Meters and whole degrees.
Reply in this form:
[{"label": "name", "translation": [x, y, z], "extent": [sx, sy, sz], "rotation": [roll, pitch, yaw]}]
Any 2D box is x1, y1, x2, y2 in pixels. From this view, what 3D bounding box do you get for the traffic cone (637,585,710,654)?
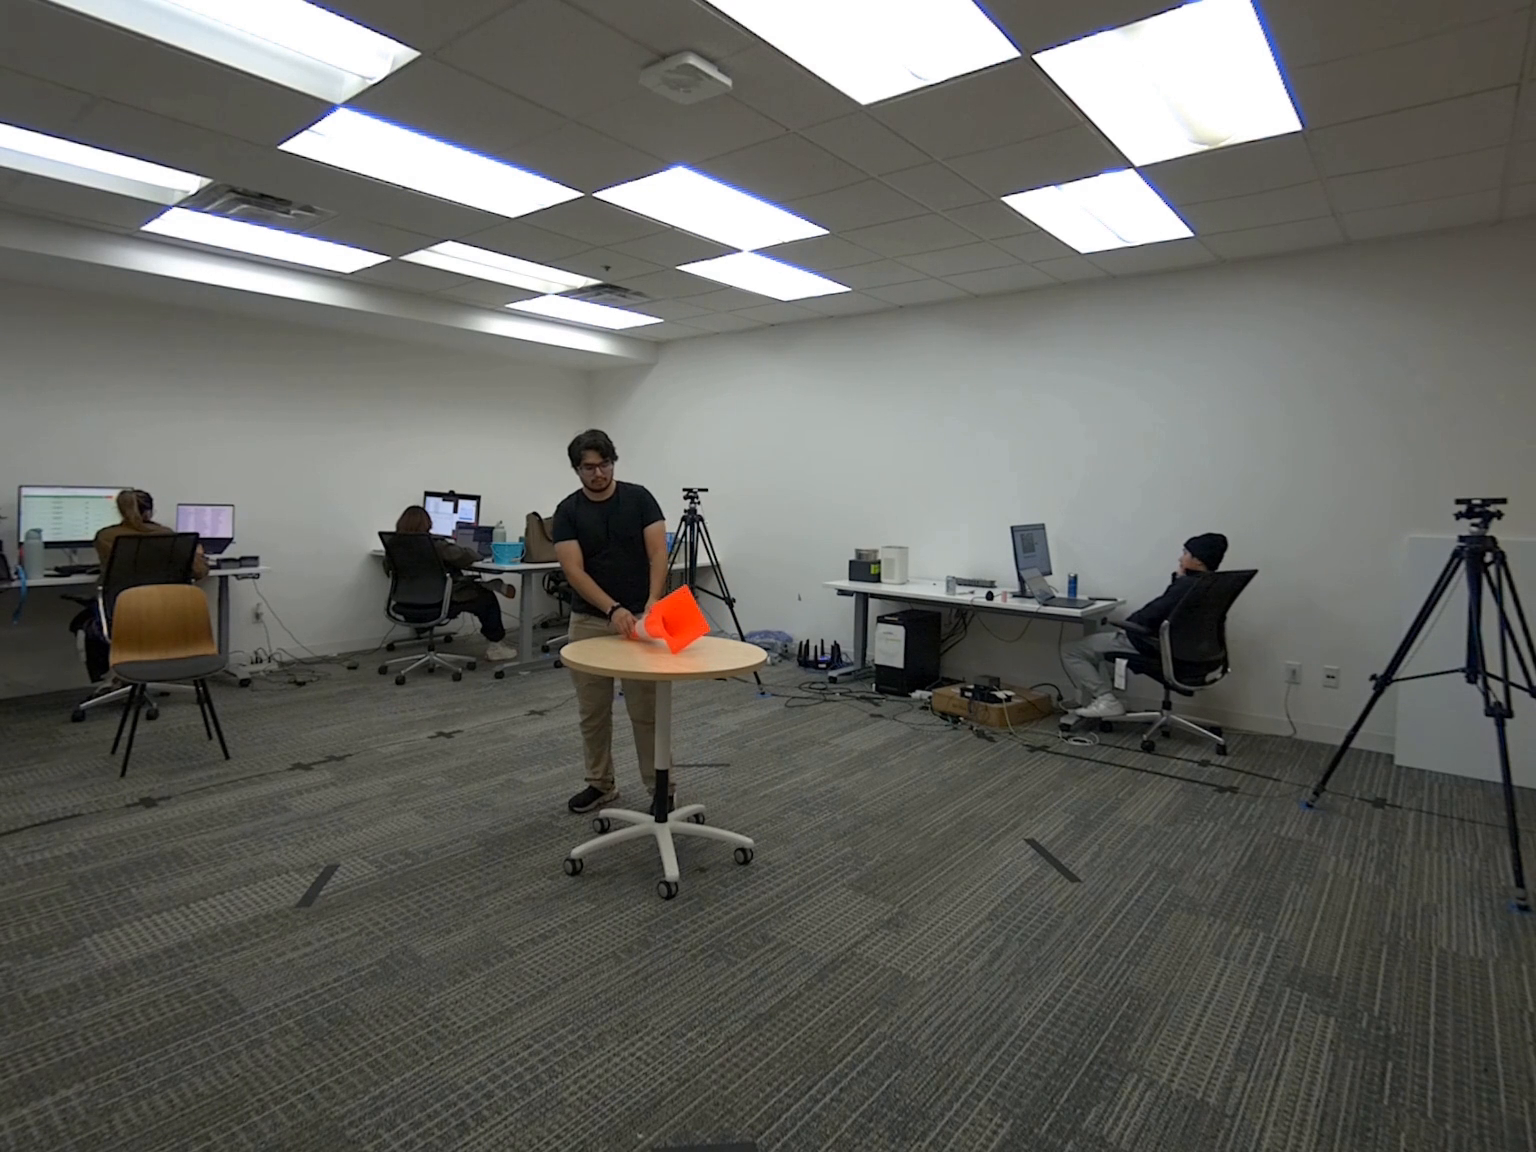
[{"label": "traffic cone", "translation": [-0.461, 0.205, 3.283], "extent": [0.391, 0.204, 0.201], "rotation": [-21, 9, 46]}]
